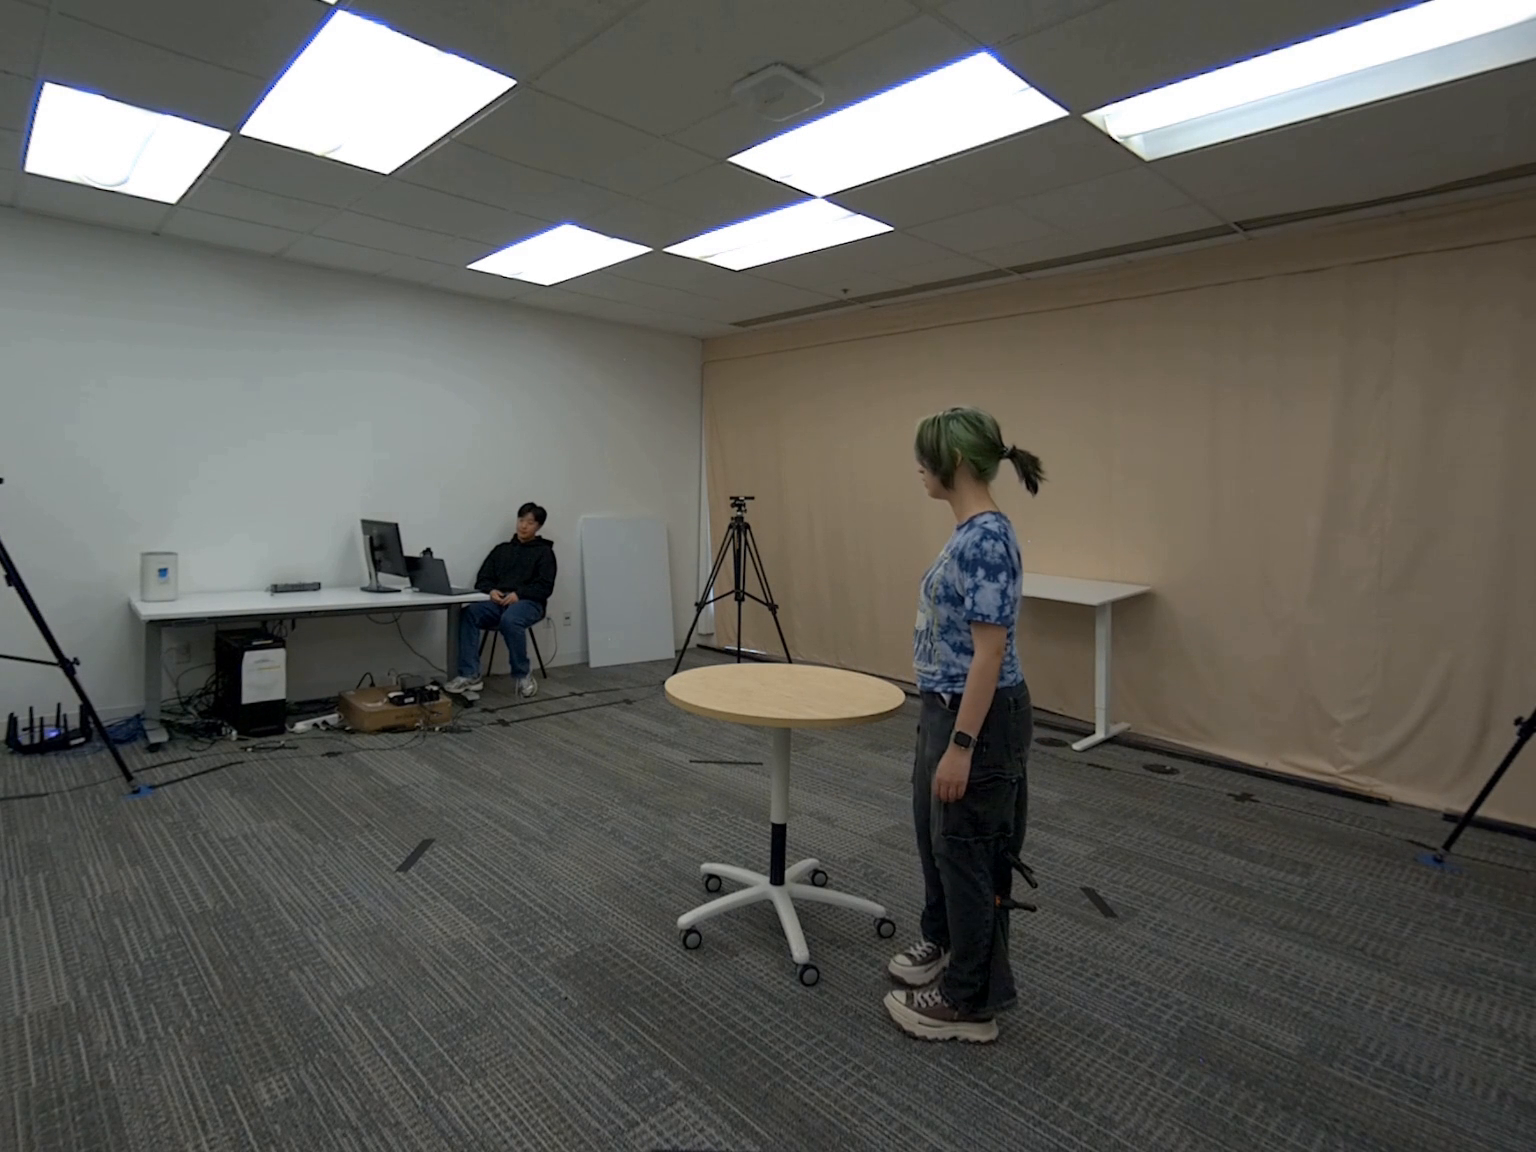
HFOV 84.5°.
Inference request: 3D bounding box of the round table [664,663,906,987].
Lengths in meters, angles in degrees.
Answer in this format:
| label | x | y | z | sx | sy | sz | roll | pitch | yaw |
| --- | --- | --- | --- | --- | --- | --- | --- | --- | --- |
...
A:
| label | x | y | z | sx | sy | sz | roll | pitch | yaw |
| --- | --- | --- | --- | --- | --- | --- | --- | --- | --- |
| round table | 0.029 | 0.753 | 2.733 | 0.763 | 0.792 | 0.767 | 2 | 4 | -2 |
